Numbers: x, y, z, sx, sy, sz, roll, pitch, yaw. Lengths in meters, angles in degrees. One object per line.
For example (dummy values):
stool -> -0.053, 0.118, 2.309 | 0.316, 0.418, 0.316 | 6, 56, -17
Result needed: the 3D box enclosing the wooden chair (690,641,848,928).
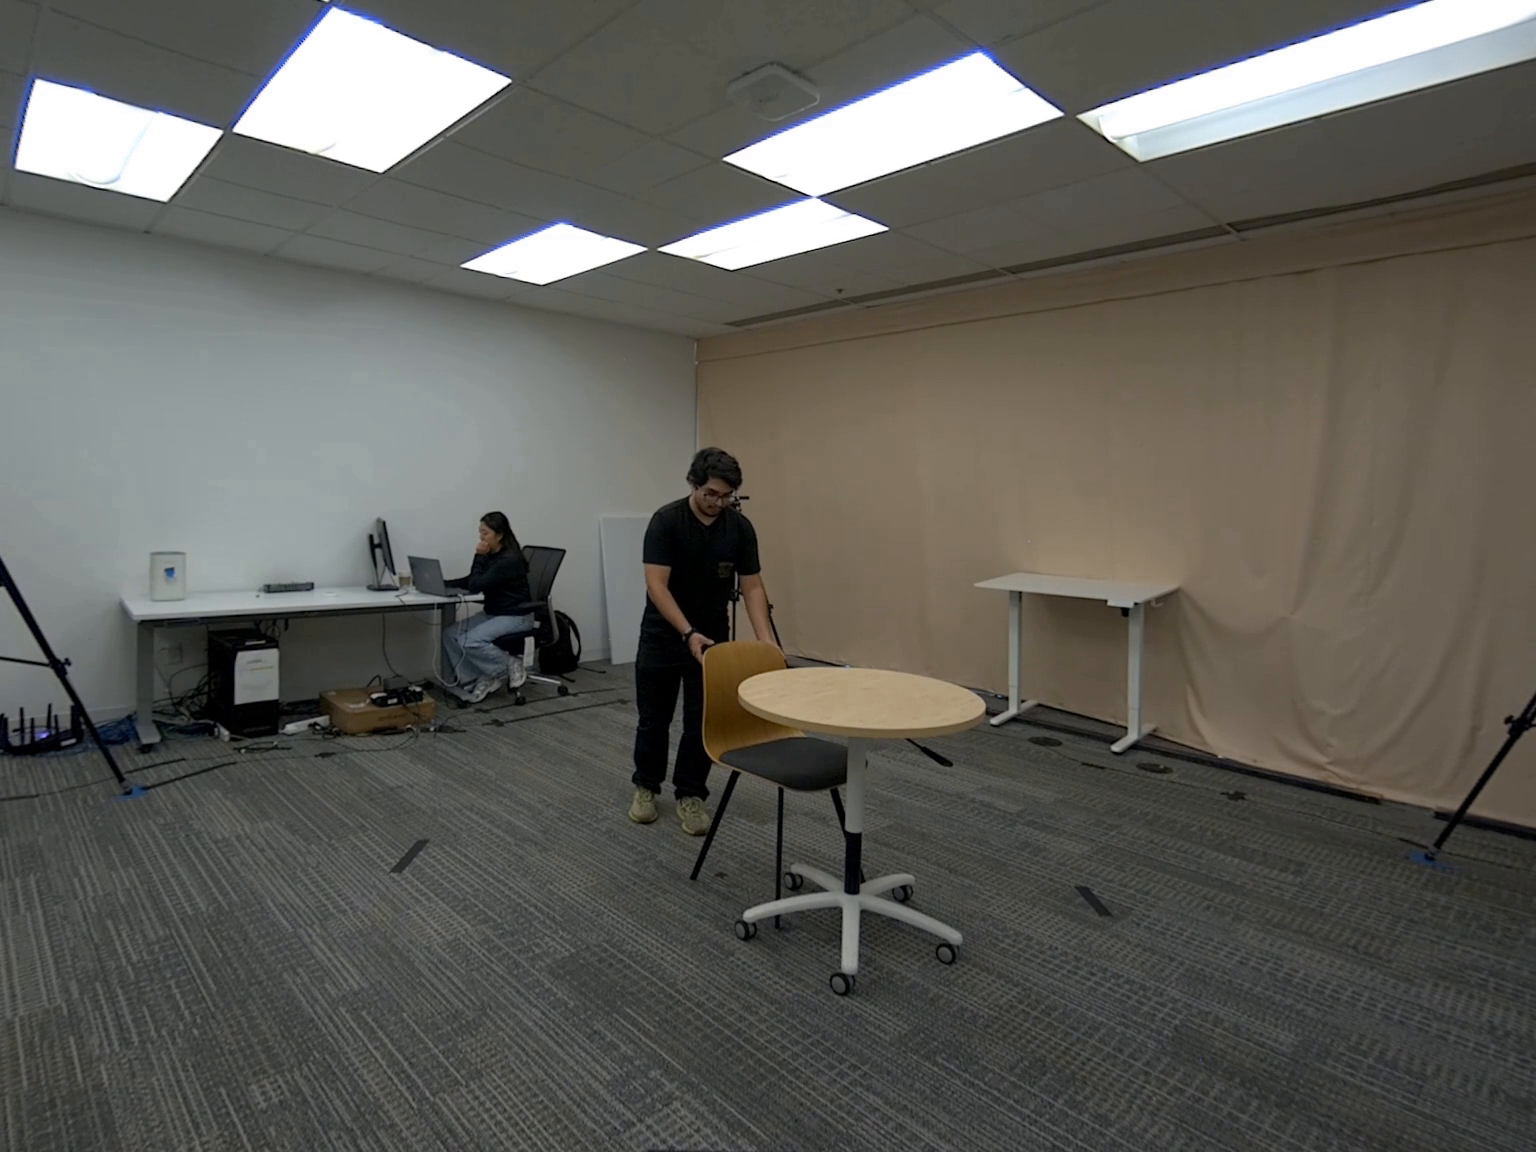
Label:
wooden chair -> 0.043, 0.690, 2.997 | 0.467, 0.877, 0.535 | -1, 0, -42
